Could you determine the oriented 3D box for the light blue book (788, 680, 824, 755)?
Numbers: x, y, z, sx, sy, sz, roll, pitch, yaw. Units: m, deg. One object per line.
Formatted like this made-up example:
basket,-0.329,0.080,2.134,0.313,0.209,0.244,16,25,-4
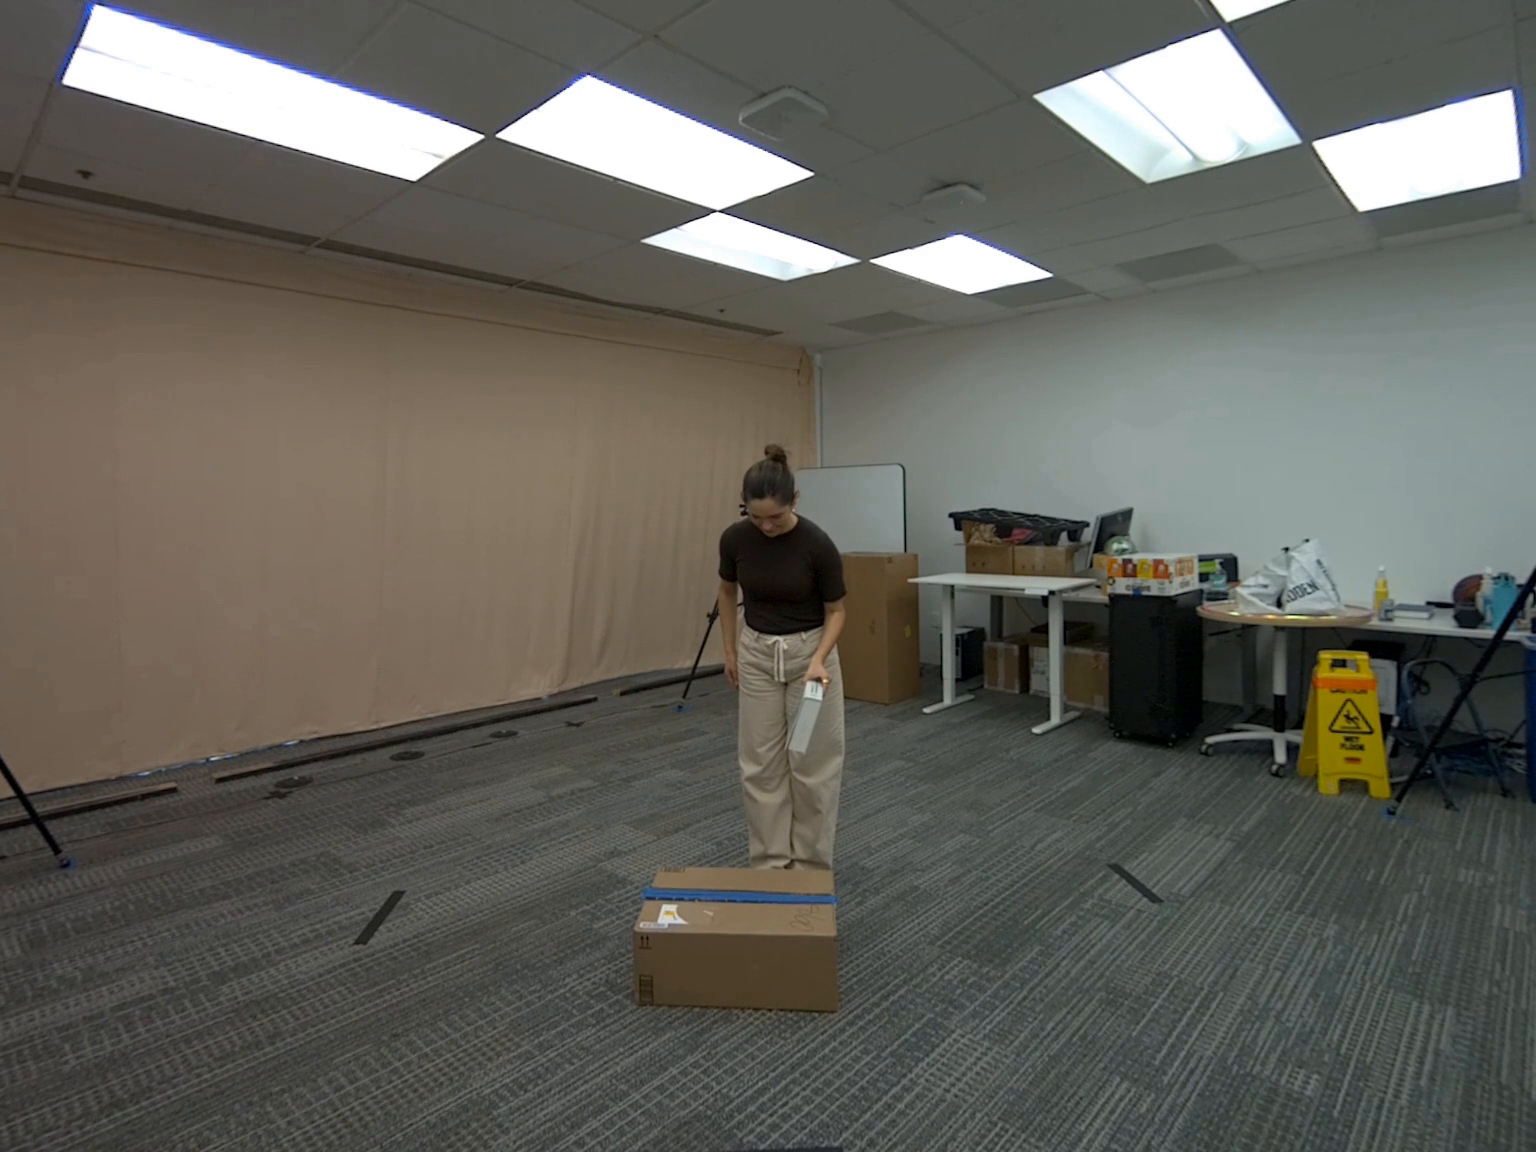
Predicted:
light blue book,0.122,0.432,2.703,0.059,0.190,0.261,13,10,1
